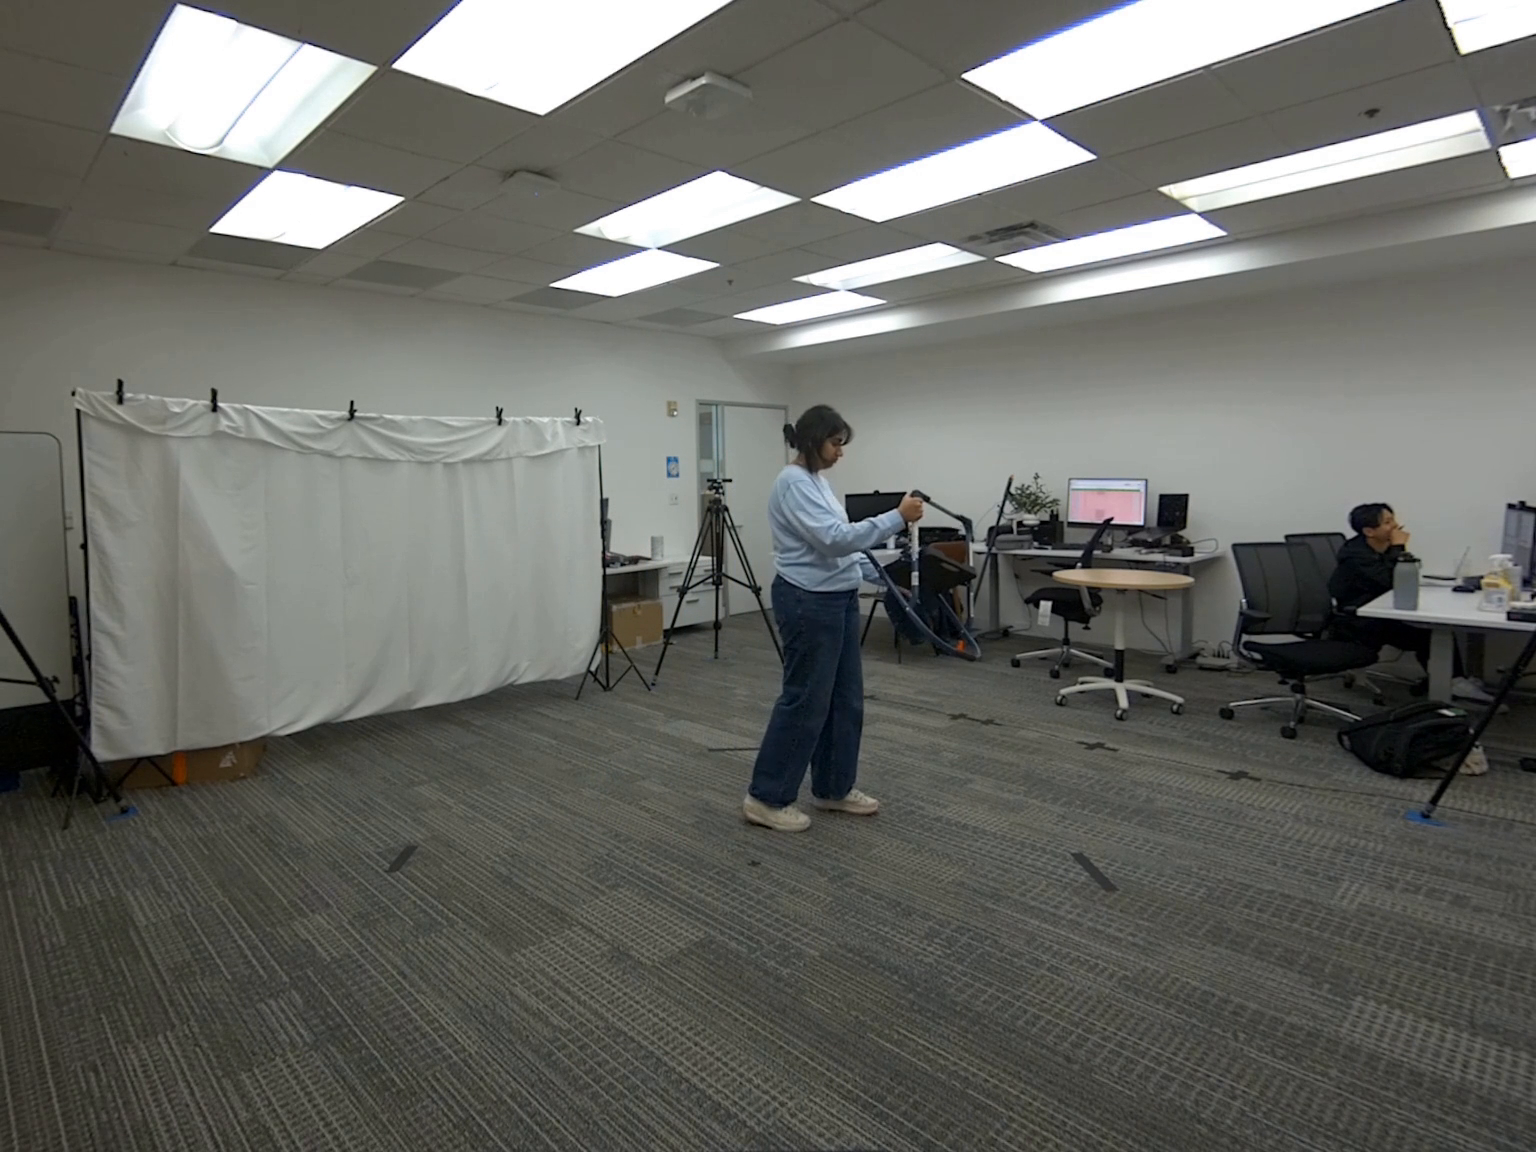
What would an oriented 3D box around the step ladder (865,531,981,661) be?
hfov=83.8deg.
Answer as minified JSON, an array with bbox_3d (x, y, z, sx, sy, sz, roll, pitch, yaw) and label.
[{"bbox_3d":[0.597,0.057,3.317,0.353,0.621,0.415,-29,-34,36],"label":"step ladder"}]
